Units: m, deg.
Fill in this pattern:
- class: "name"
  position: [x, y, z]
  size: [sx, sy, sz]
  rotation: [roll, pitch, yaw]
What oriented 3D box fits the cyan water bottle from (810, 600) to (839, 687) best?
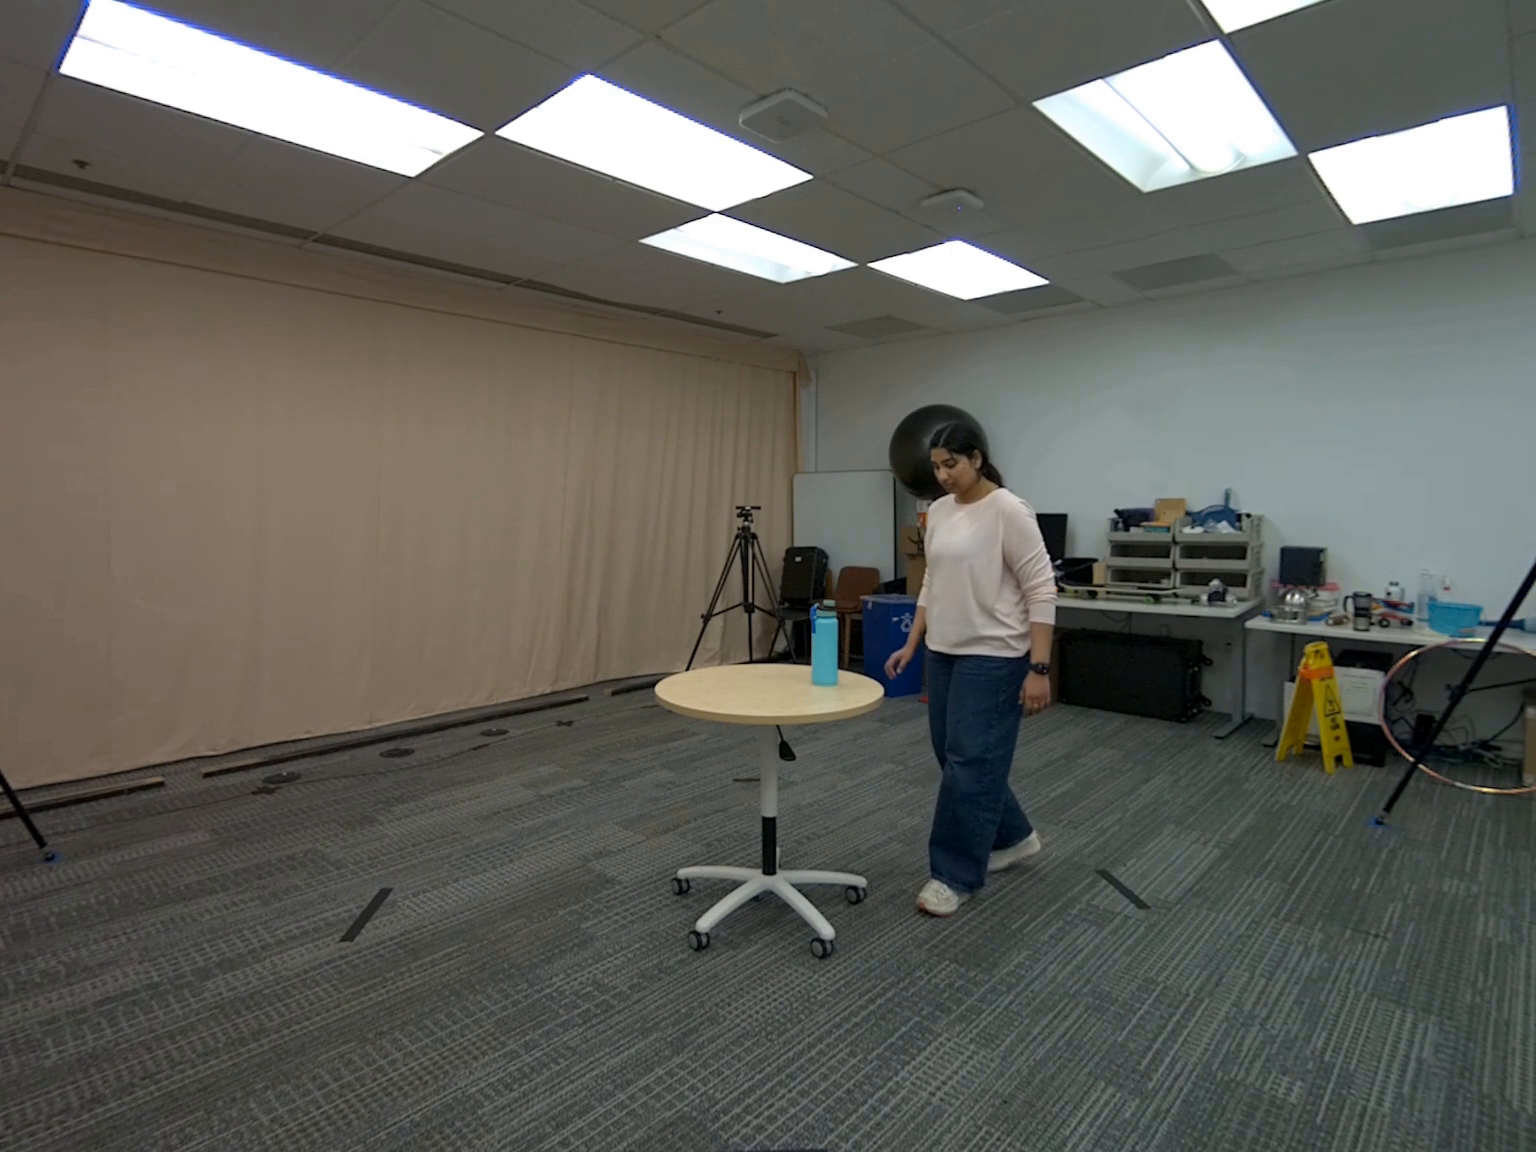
- class: "cyan water bottle"
  position: [0.202, 0.231, 2.875]
  size: [0.092, 0.283, 0.092]
  rotation: [-1, 3, -2]
